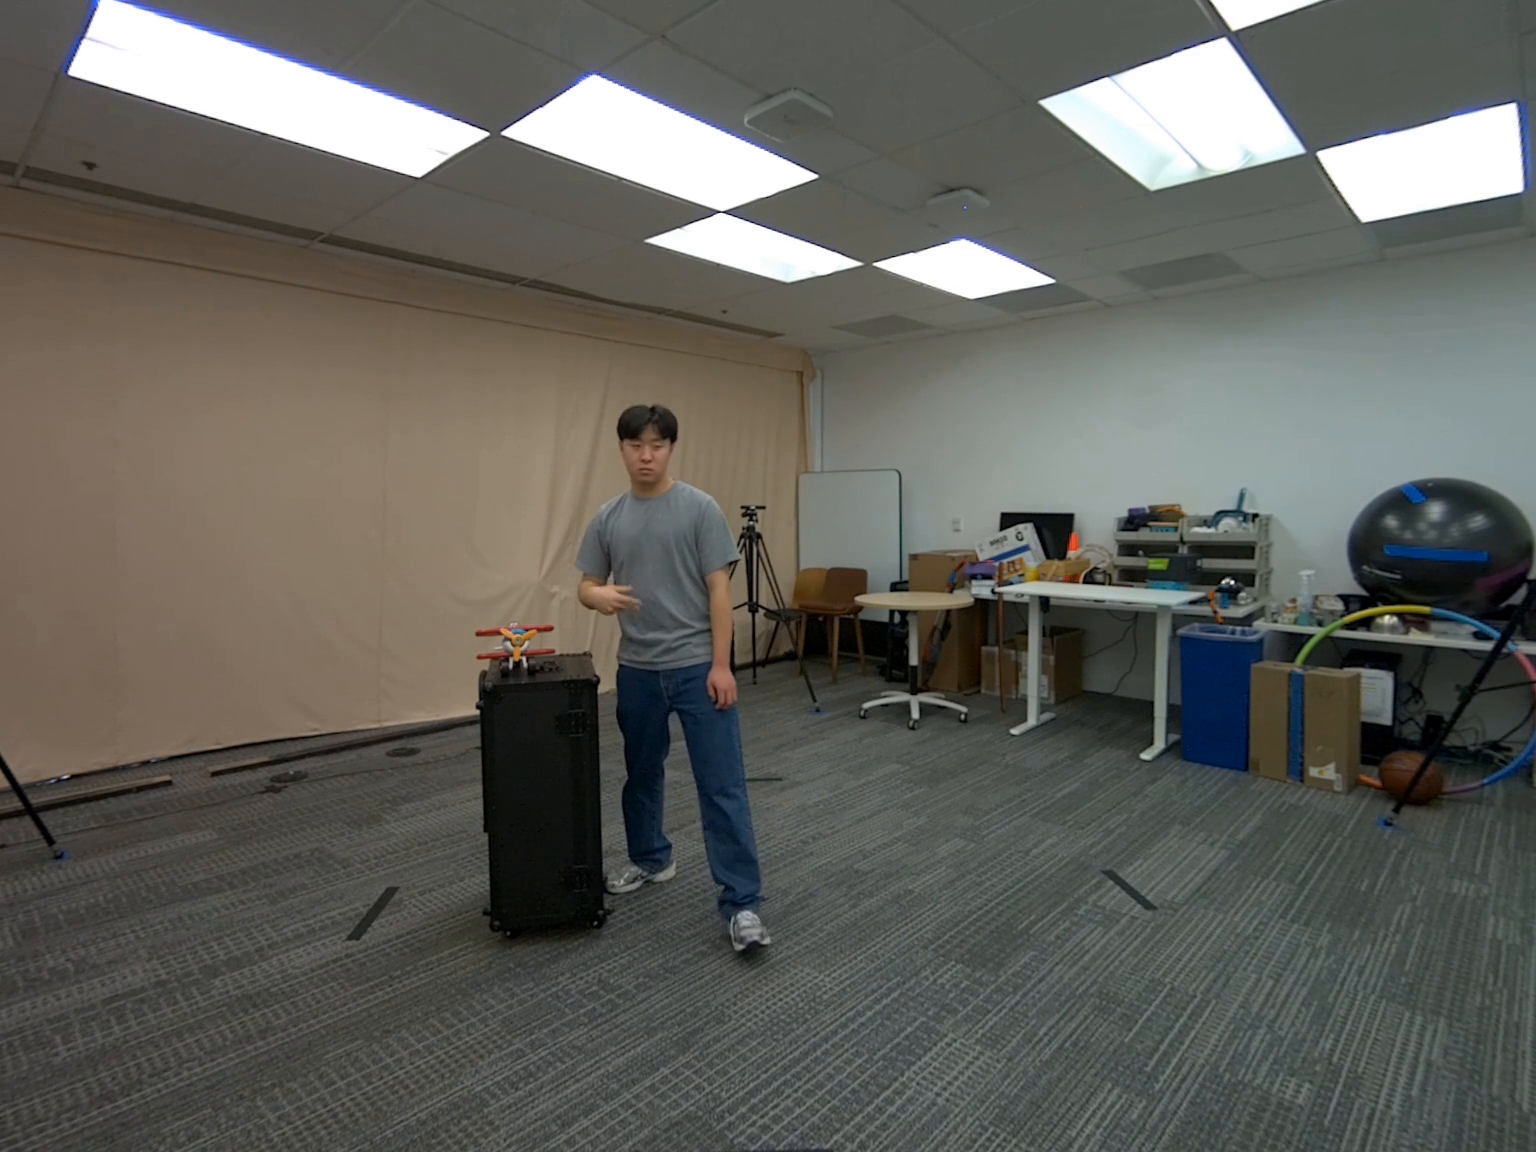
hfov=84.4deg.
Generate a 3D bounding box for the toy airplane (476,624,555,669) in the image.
[{"bbox_3d":[-0.866,0.242,2.821,0.268,0.156,0.243,4,6,41],"label":"toy airplane"}]
